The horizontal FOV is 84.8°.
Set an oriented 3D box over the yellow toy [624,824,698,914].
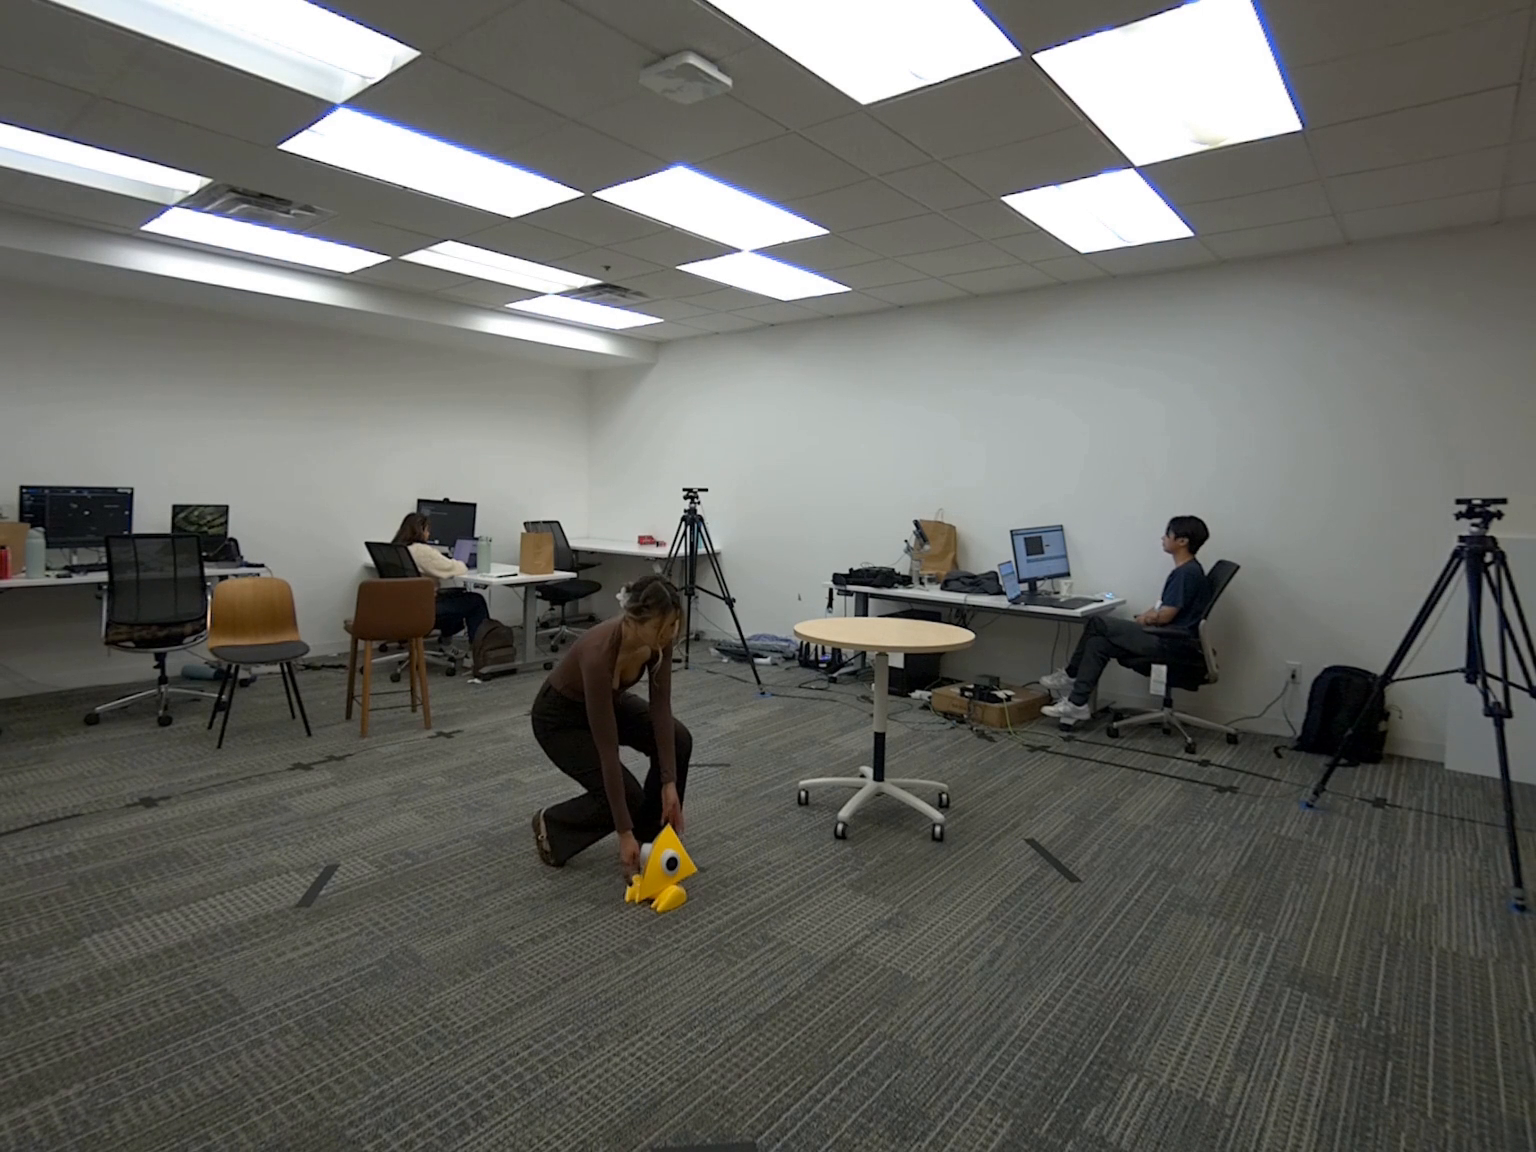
[{"bbox_3d":[-0.387,0.971,2.892,0.210,0.230,0.188,2,4,29],"label":"yellow toy"}]
